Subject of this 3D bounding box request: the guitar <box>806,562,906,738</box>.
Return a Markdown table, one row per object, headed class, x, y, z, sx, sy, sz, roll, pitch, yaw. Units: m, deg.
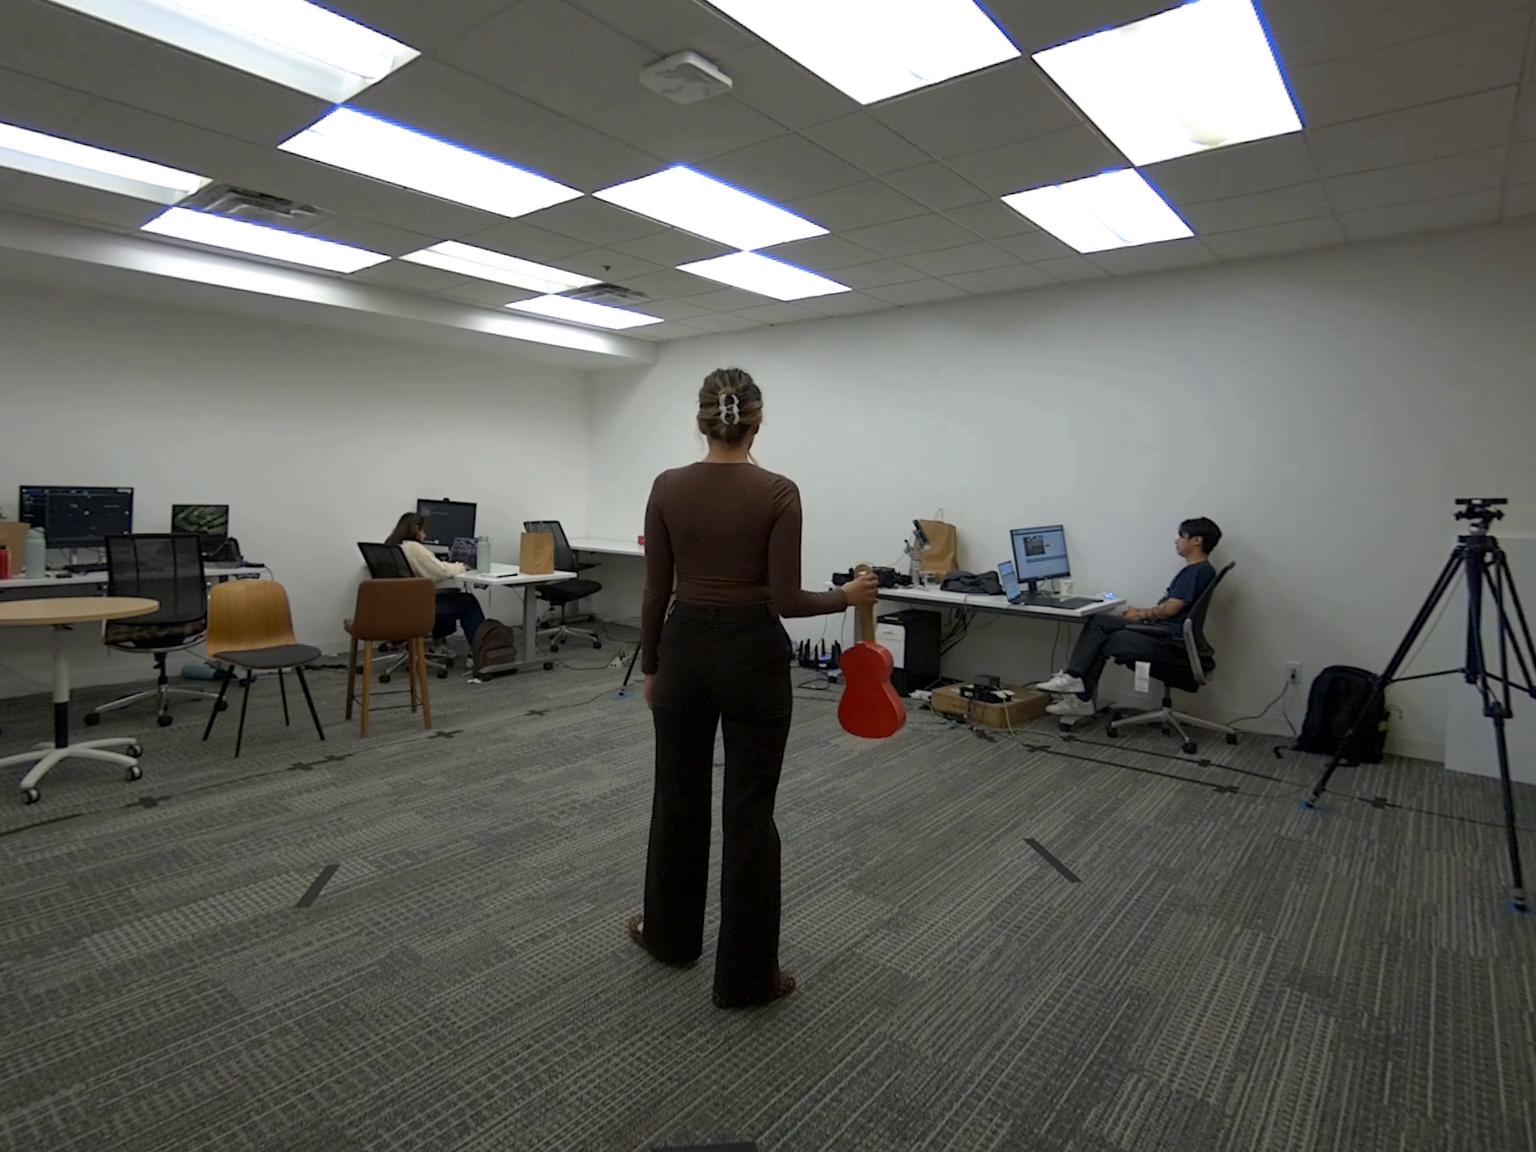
| class | x | y | z | sx | sy | sz | roll | pitch | yaw |
| --- | --- | --- | --- | --- | --- | --- | --- | --- | --- |
| guitar | 0.258 | 0.220 | 2.500 | 0.197 | 0.499 | 0.069 | -12 | -3 | 34 |
